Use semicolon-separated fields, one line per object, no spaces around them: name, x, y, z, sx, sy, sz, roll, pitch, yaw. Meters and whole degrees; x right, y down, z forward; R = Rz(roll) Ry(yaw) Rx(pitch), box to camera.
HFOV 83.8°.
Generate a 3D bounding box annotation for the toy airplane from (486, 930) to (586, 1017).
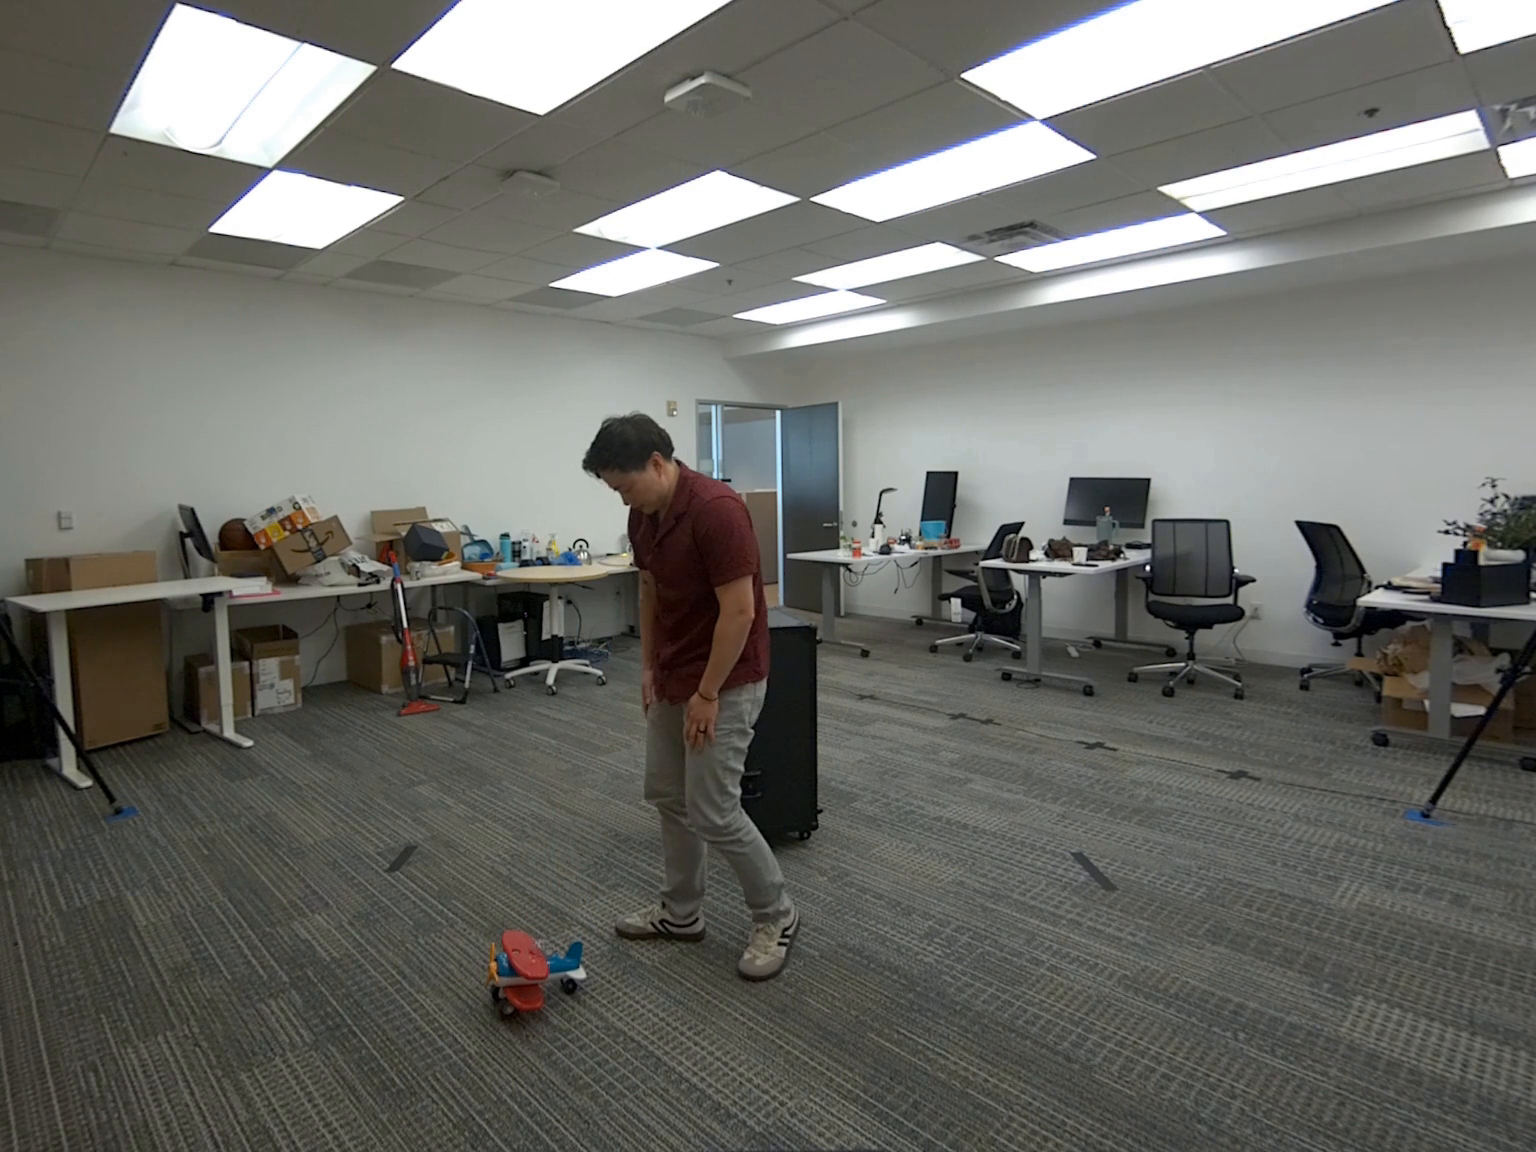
toy airplane;-0.633;1.074;2.329;0.258;0.155;0.254;3;8;32
